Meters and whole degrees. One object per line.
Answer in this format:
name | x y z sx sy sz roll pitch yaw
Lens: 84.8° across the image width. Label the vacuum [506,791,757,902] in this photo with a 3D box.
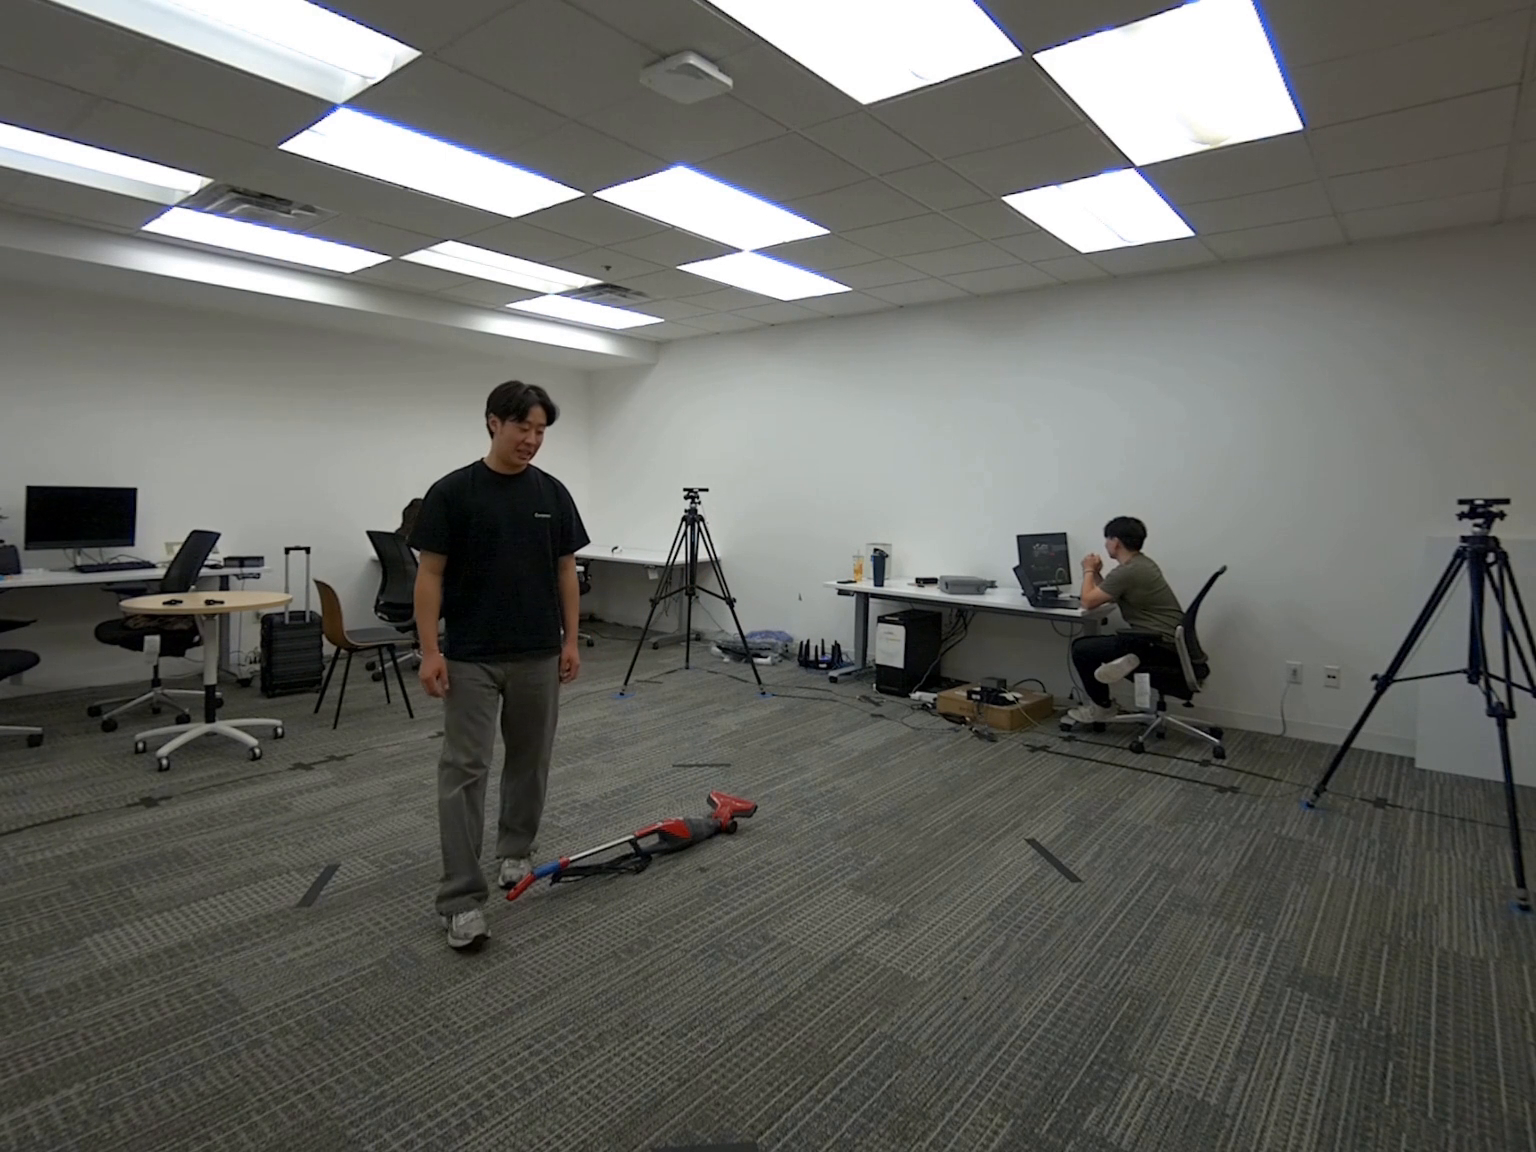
vacuum | -0.499 1.005 3.128 0.261 0.143 1.018 5 7 42
